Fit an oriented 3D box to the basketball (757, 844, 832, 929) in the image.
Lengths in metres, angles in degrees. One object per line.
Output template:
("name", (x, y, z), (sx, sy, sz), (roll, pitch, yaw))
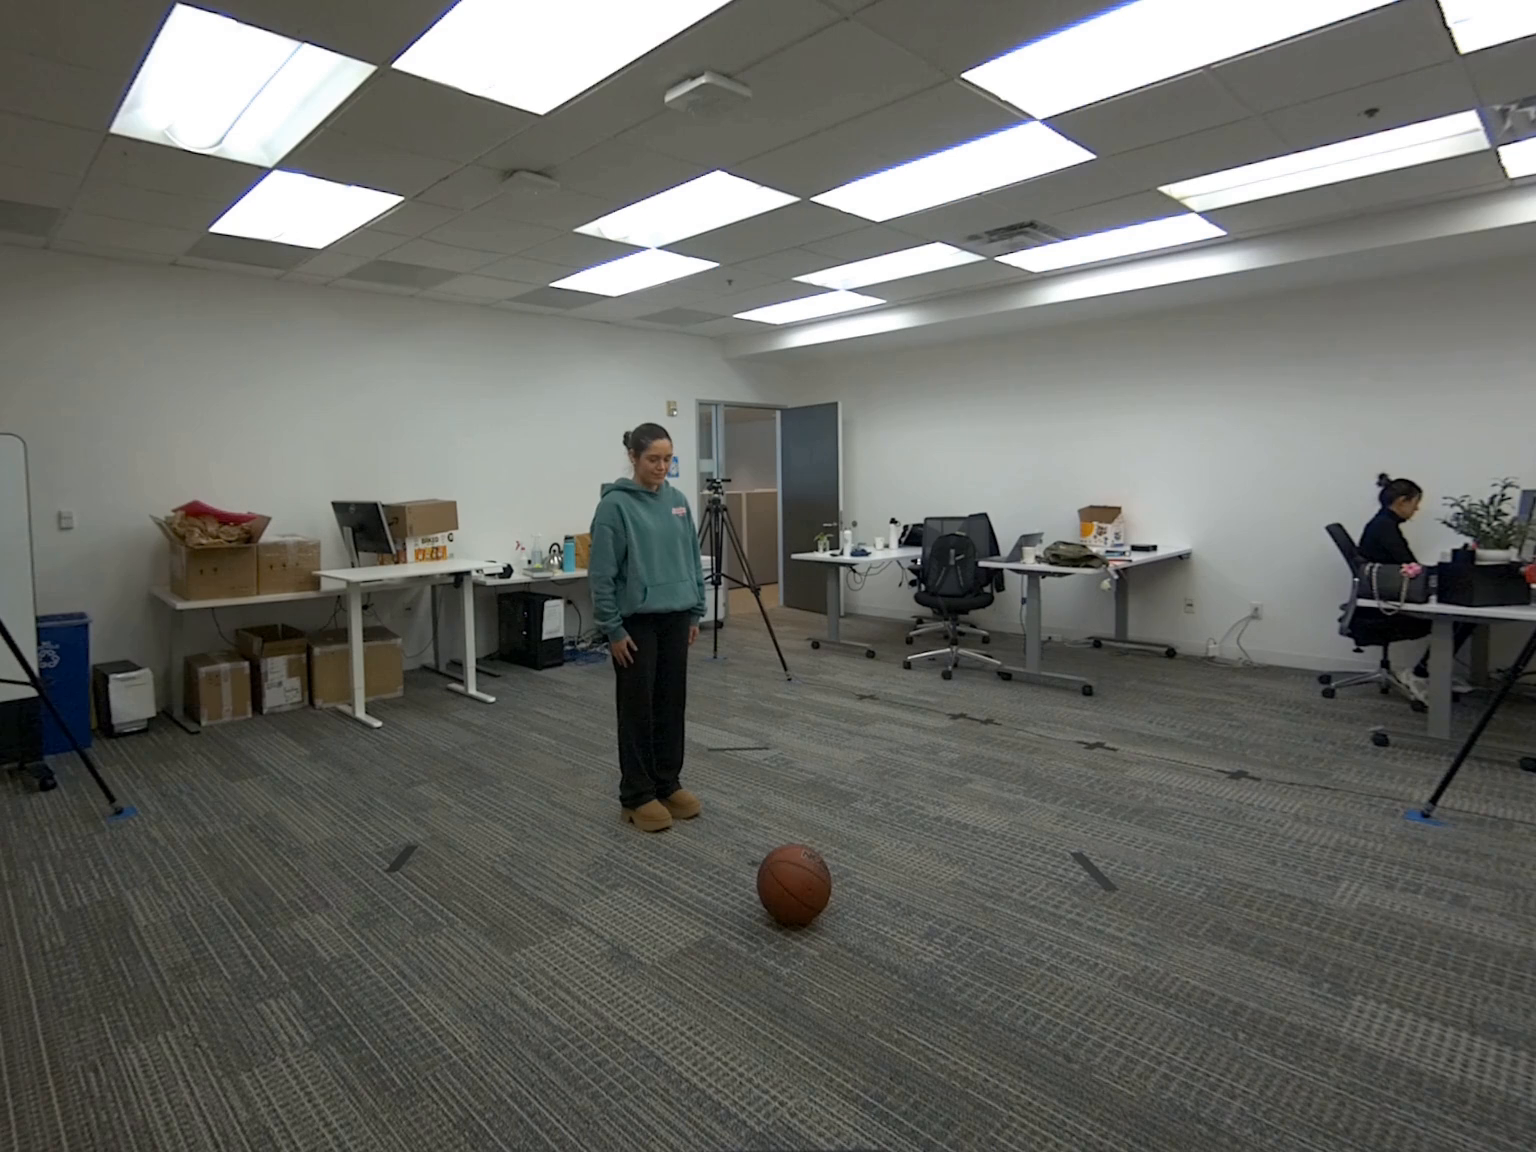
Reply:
("basketball", (0.089, 0.967, 2.702), (0.236, 0.235, 0.237), (-1, 5, -2))
